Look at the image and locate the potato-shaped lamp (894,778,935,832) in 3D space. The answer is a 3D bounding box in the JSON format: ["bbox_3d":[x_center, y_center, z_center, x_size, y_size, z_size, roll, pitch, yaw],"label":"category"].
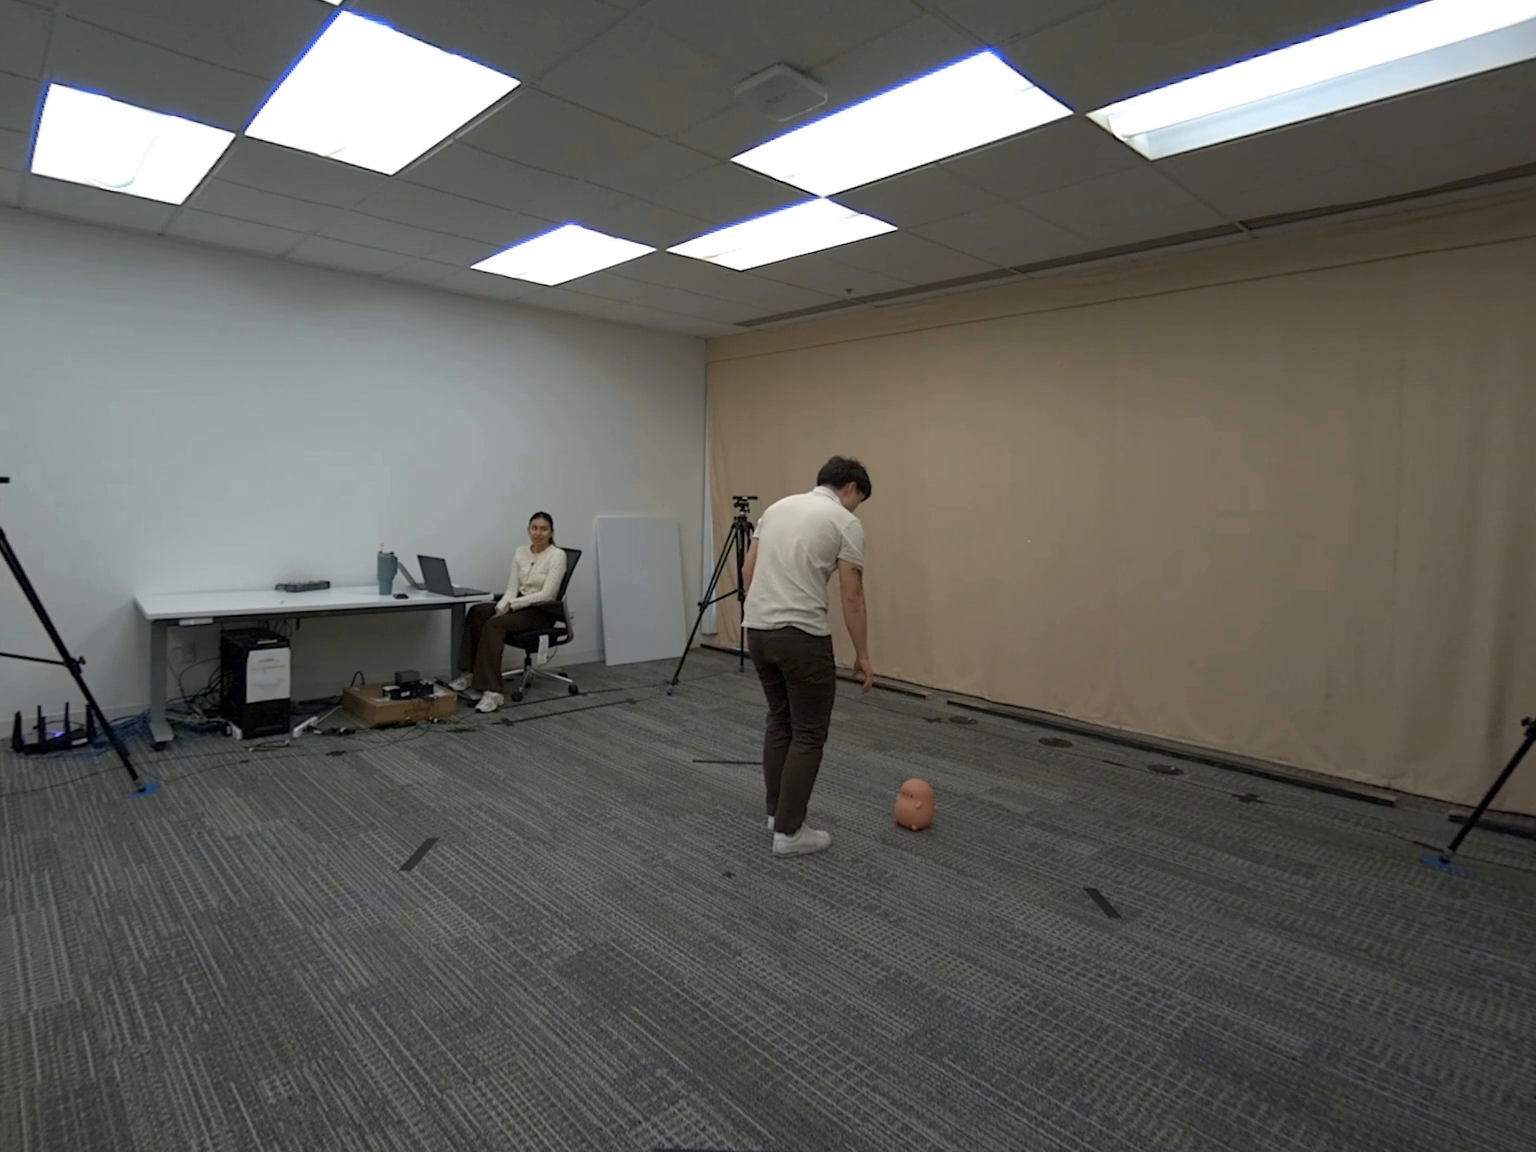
[{"bbox_3d":[0.620,0.972,3.635,0.167,0.198,0.168,0,0,-39],"label":"potato-shaped lamp"}]
